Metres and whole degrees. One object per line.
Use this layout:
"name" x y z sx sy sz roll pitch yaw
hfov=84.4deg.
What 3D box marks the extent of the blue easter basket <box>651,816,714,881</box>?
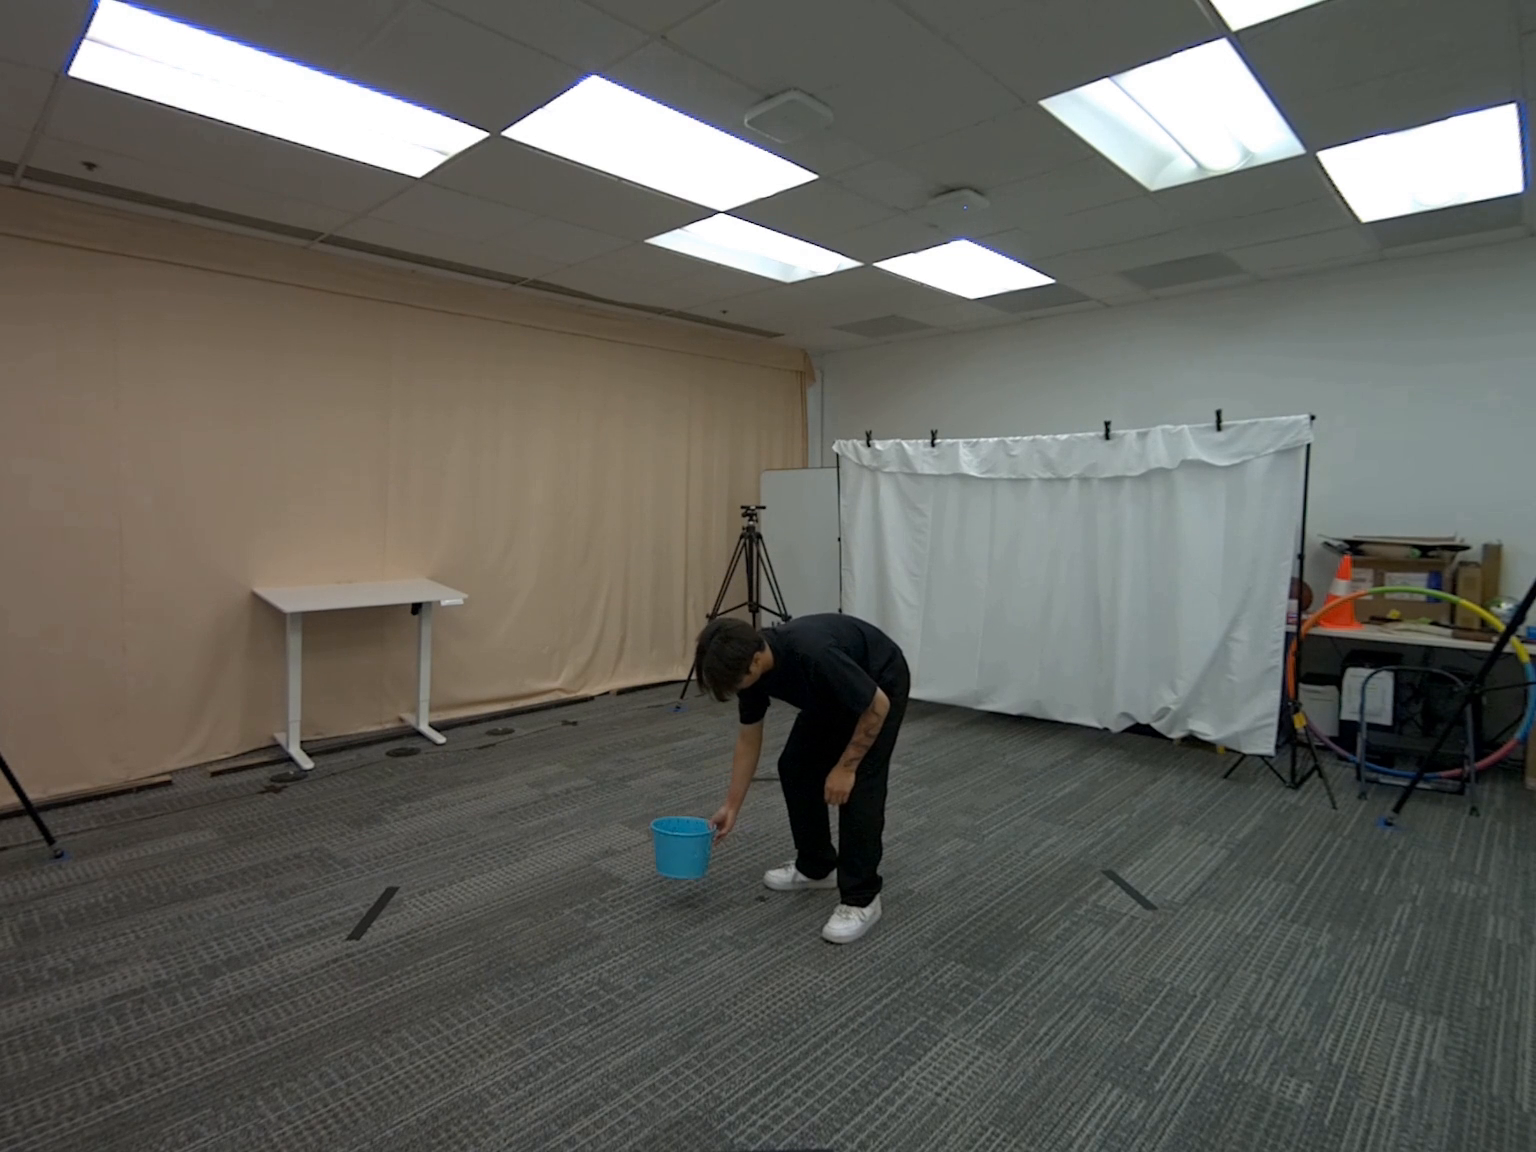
"blue easter basket" -0.289 0.947 2.936 0.243 0.156 0.243 3 -1 -2
